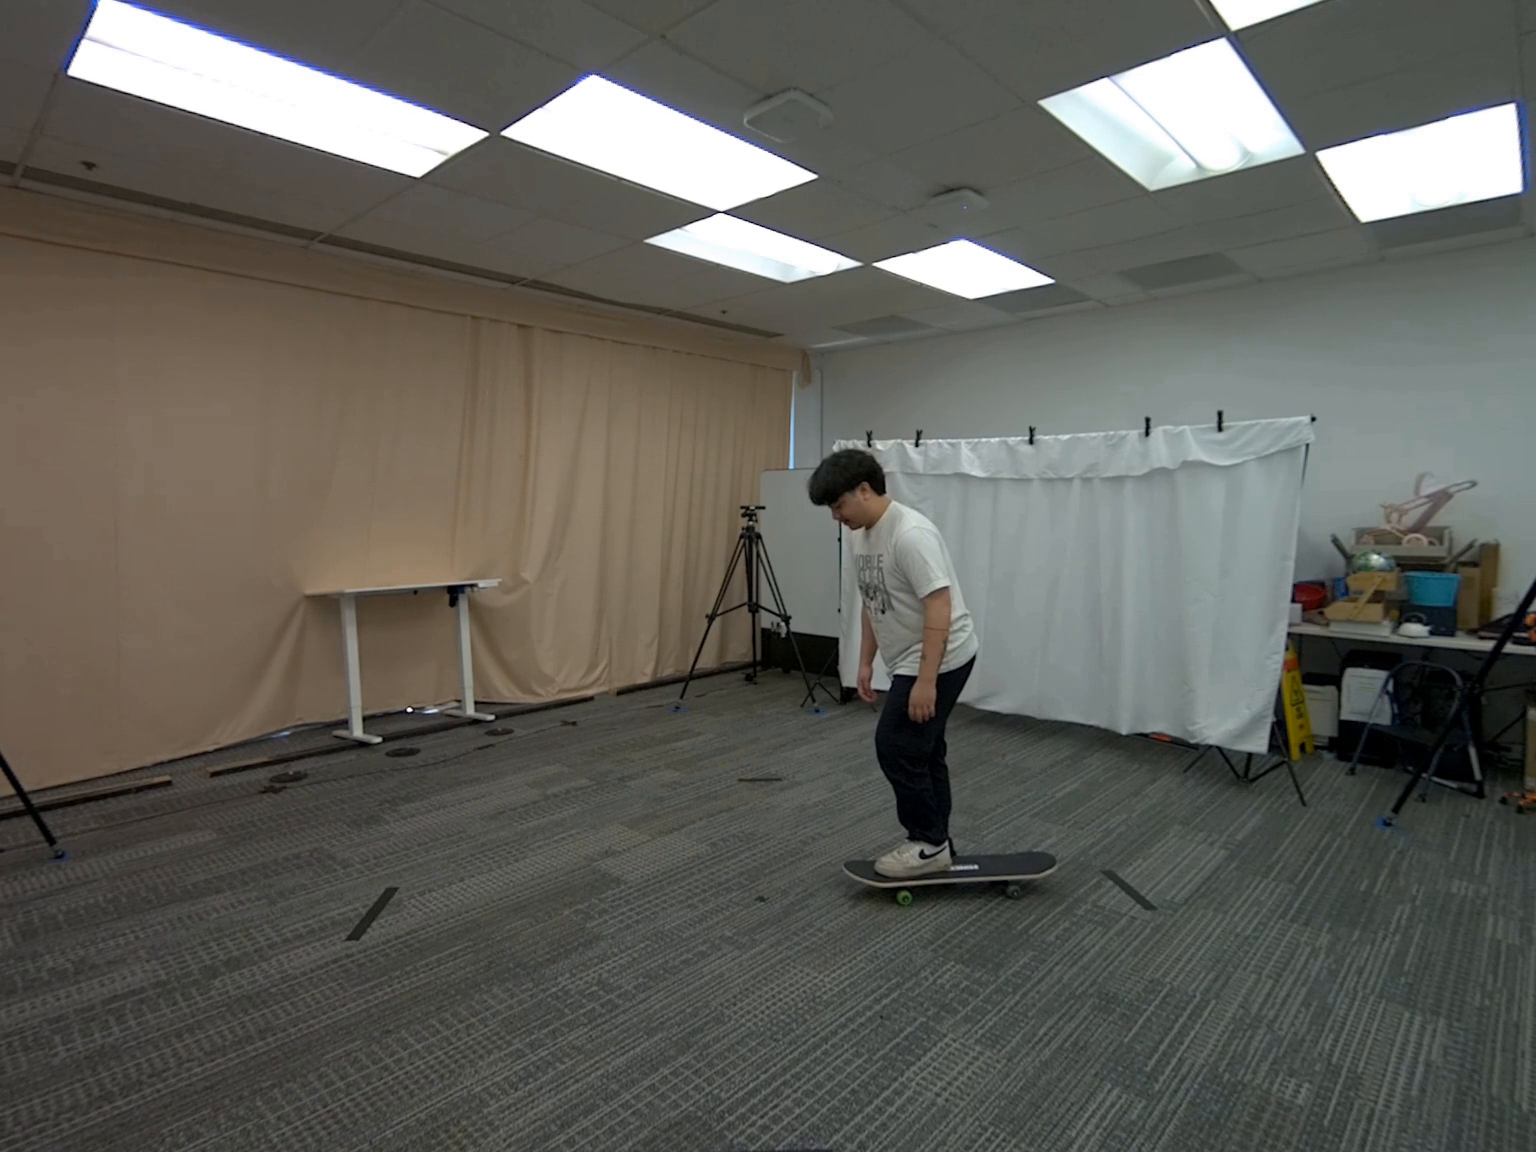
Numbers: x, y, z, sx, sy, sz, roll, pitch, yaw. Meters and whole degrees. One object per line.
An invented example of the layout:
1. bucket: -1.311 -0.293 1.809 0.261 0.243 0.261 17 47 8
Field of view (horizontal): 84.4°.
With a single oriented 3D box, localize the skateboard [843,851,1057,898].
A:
1. skateboard: 0.662 1.084 3.030 0.779 0.110 0.195 -1 4 -7
